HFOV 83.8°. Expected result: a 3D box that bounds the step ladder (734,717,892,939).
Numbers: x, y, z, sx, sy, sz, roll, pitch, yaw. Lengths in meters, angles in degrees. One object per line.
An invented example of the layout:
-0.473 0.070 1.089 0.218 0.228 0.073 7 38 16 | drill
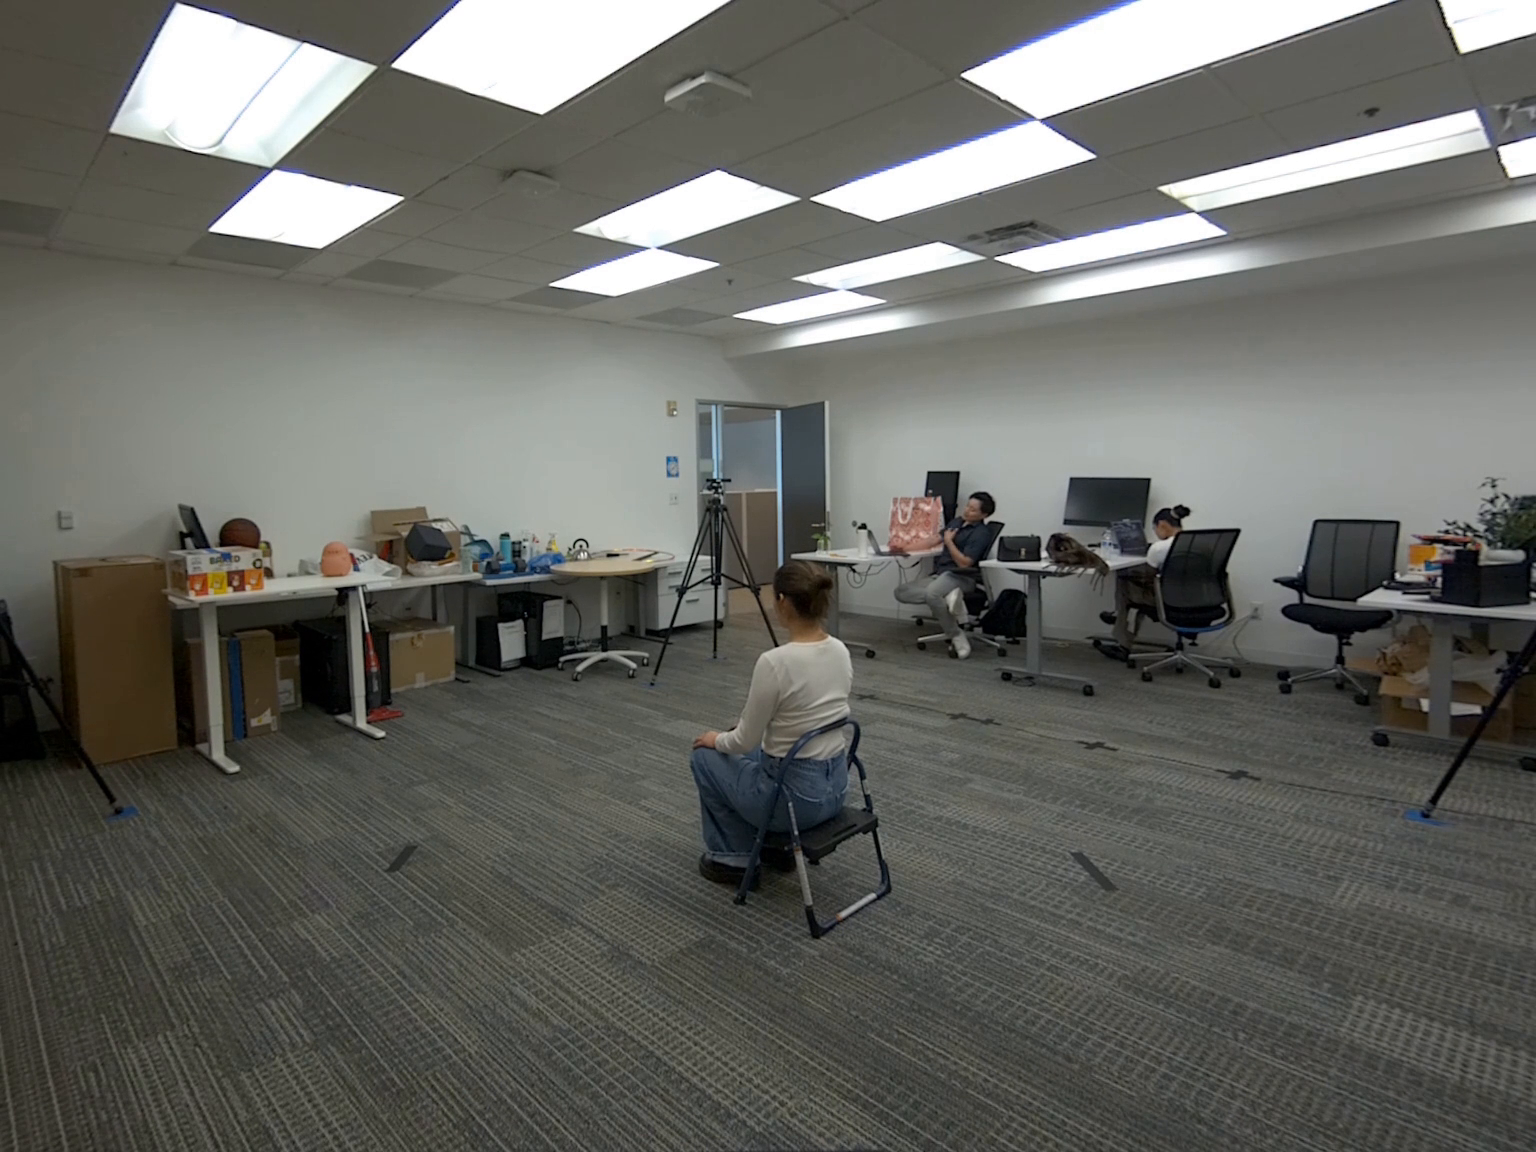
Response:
0.154 0.767 2.827 0.360 0.604 0.419 3 6 42 | step ladder
